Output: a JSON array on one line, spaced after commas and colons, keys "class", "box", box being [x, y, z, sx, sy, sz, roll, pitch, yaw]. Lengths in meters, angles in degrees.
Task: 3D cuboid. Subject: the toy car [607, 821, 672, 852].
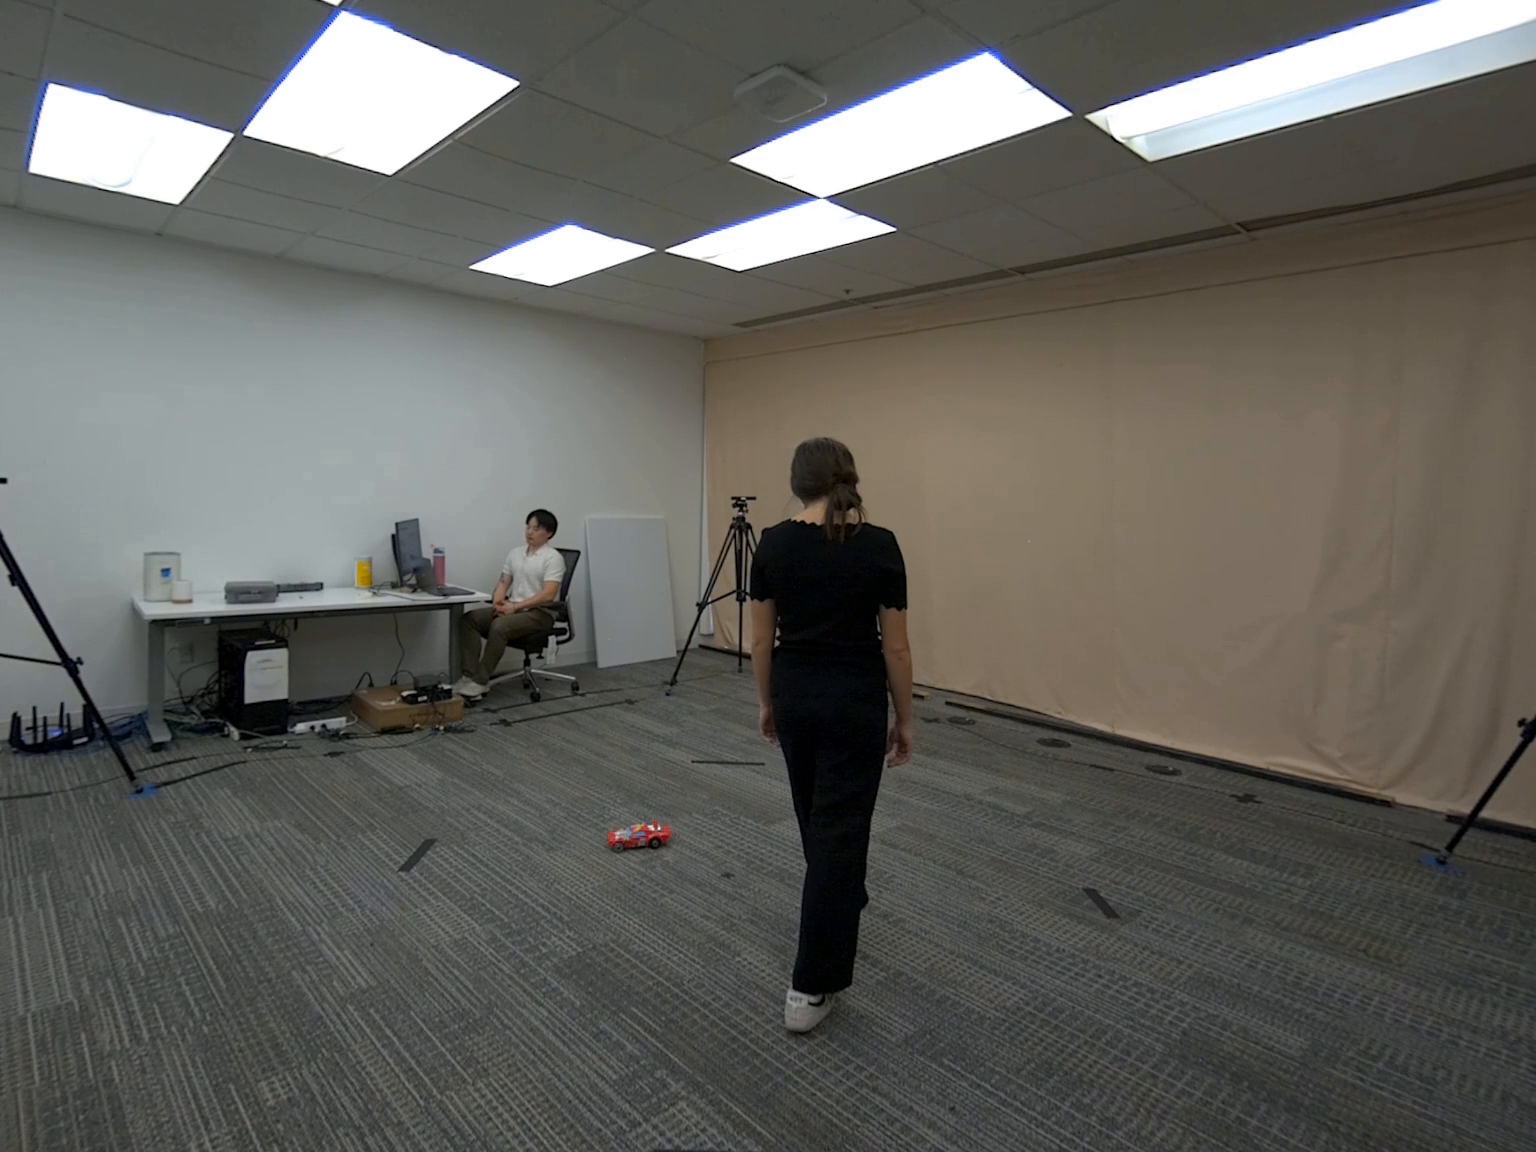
[{"class": "toy car", "box": [-0.521, 1.043, 3.360, 0.252, 0.083, 0.132, -11, 8, -16]}]
